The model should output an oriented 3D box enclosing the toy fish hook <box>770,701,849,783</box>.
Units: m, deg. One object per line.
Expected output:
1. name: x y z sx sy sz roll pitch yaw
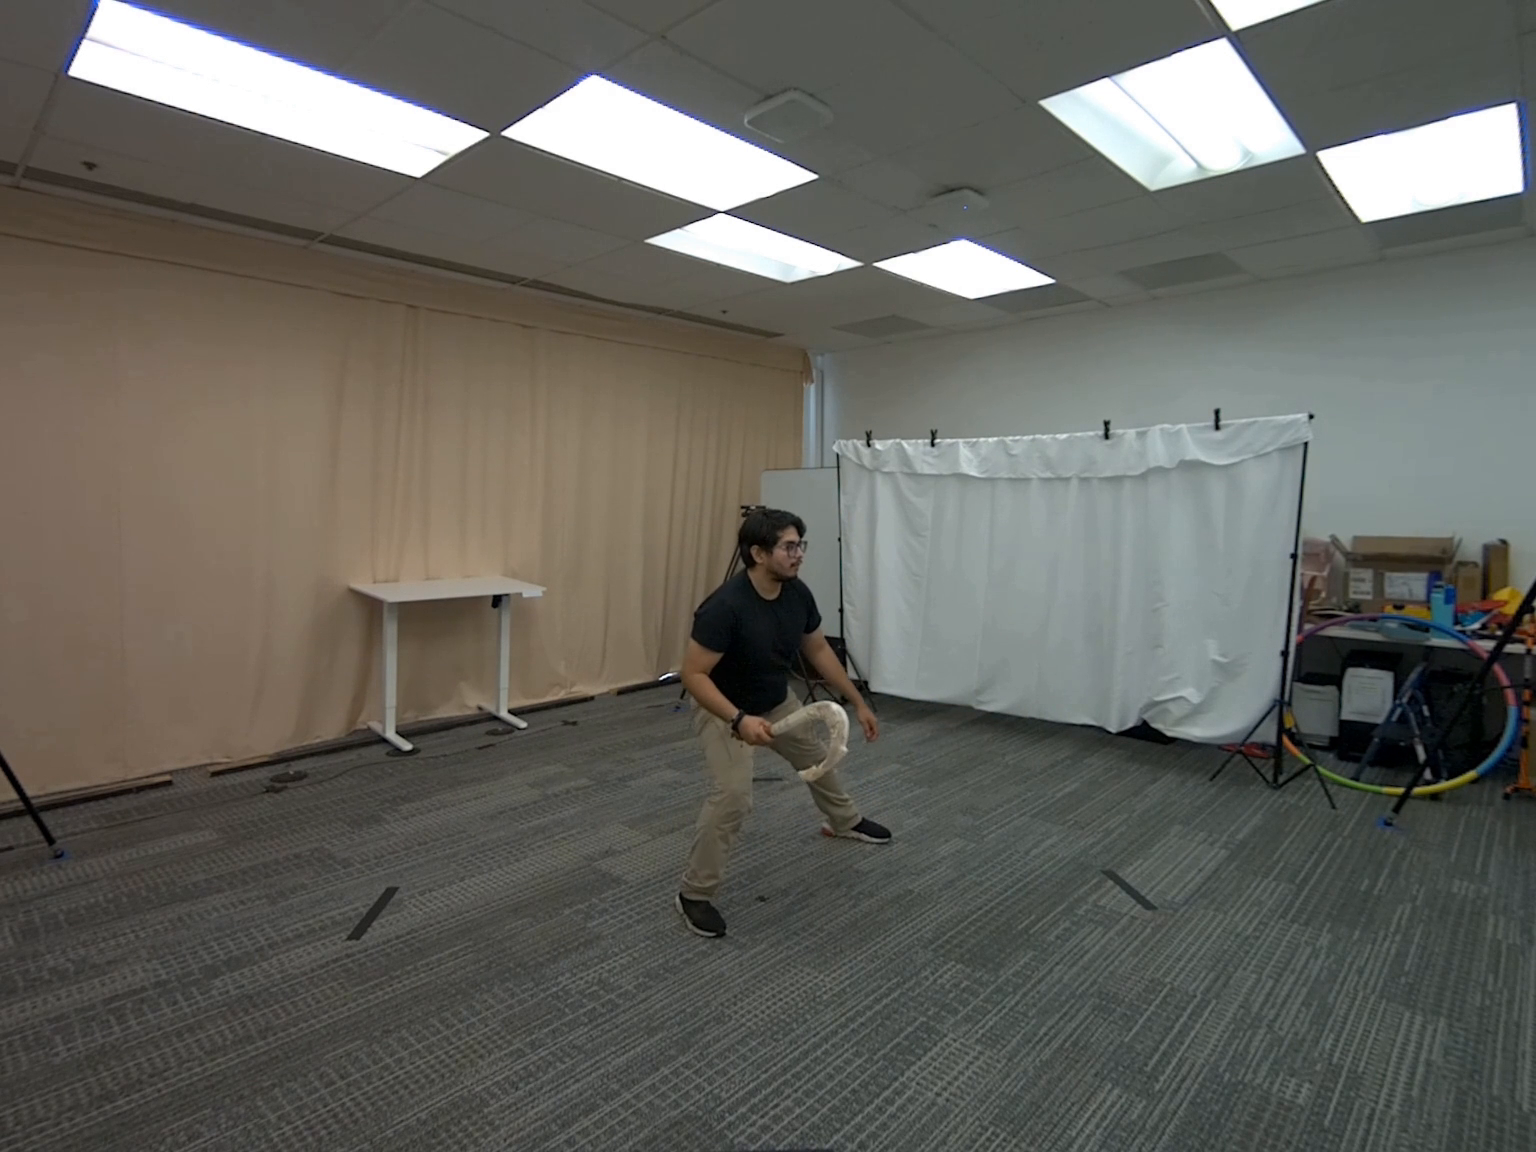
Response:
1. toy fish hook: 0.059 0.512 2.569 0.047 0.227 0.518 26 -30 -33
